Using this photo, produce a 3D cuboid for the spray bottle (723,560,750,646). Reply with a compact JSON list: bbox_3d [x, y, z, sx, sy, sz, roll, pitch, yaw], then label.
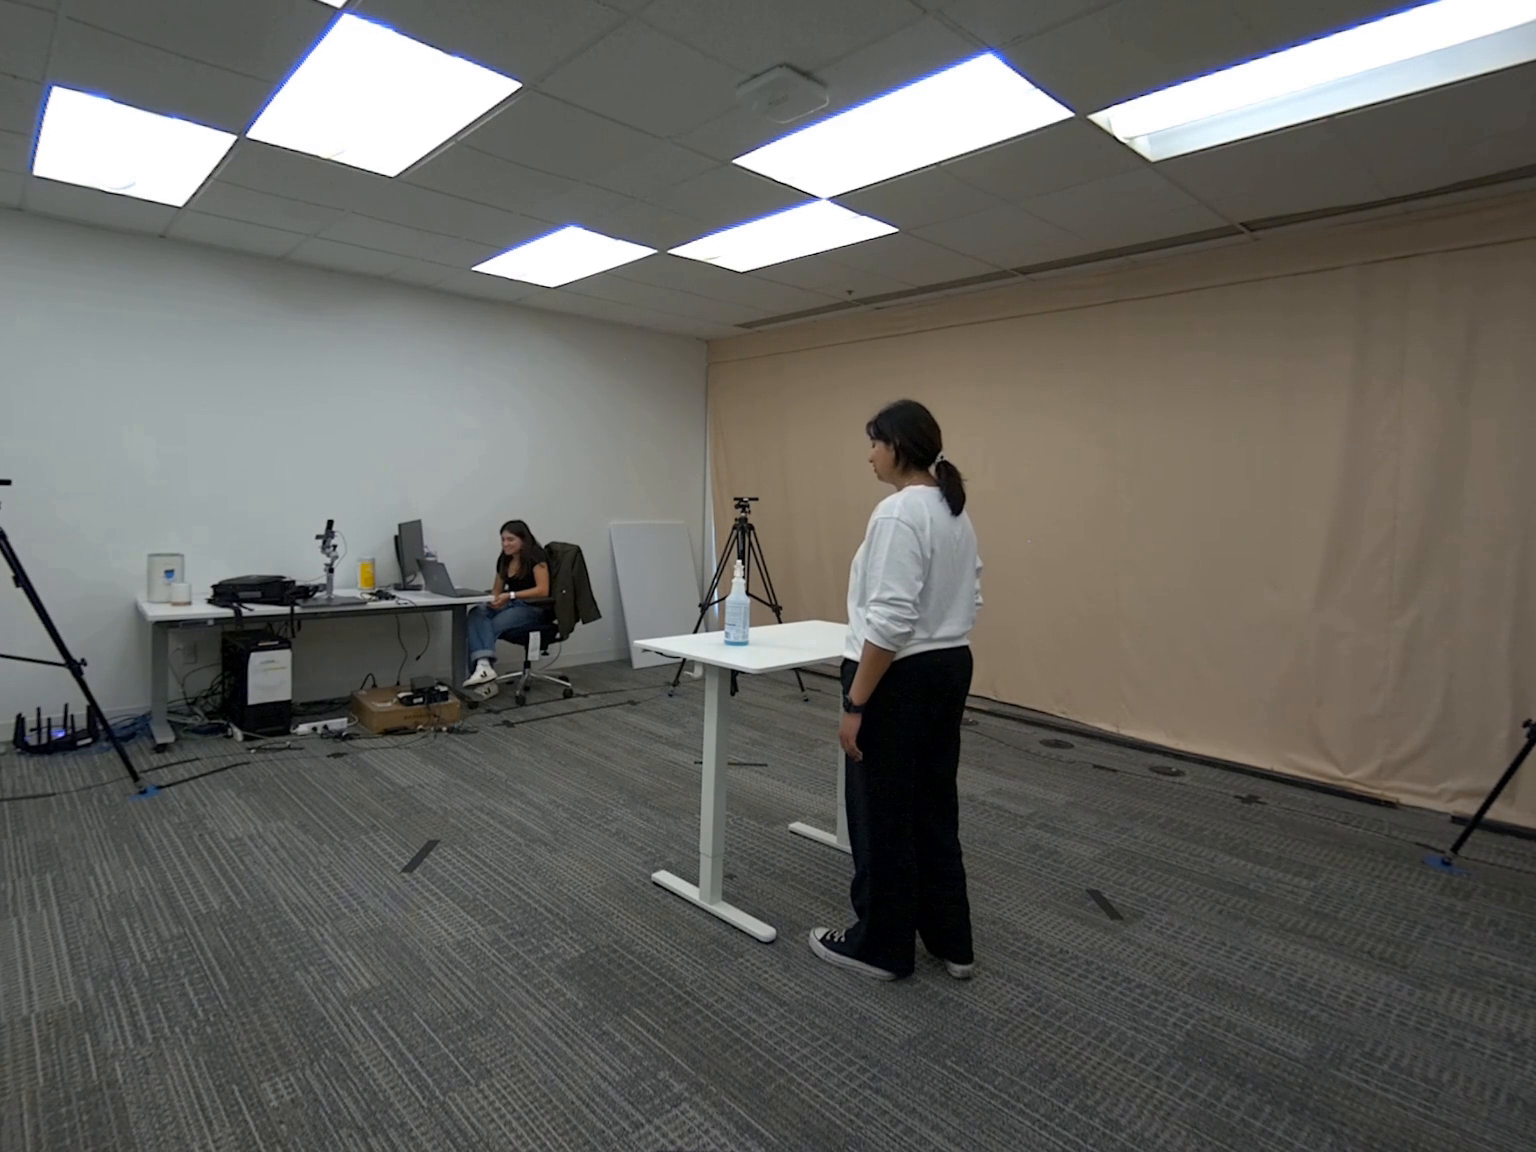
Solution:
[{"bbox_3d":[-0.113,0.094,2.934,0.089,0.296,0.088,3,4,26],"label":"spray bottle"}]
